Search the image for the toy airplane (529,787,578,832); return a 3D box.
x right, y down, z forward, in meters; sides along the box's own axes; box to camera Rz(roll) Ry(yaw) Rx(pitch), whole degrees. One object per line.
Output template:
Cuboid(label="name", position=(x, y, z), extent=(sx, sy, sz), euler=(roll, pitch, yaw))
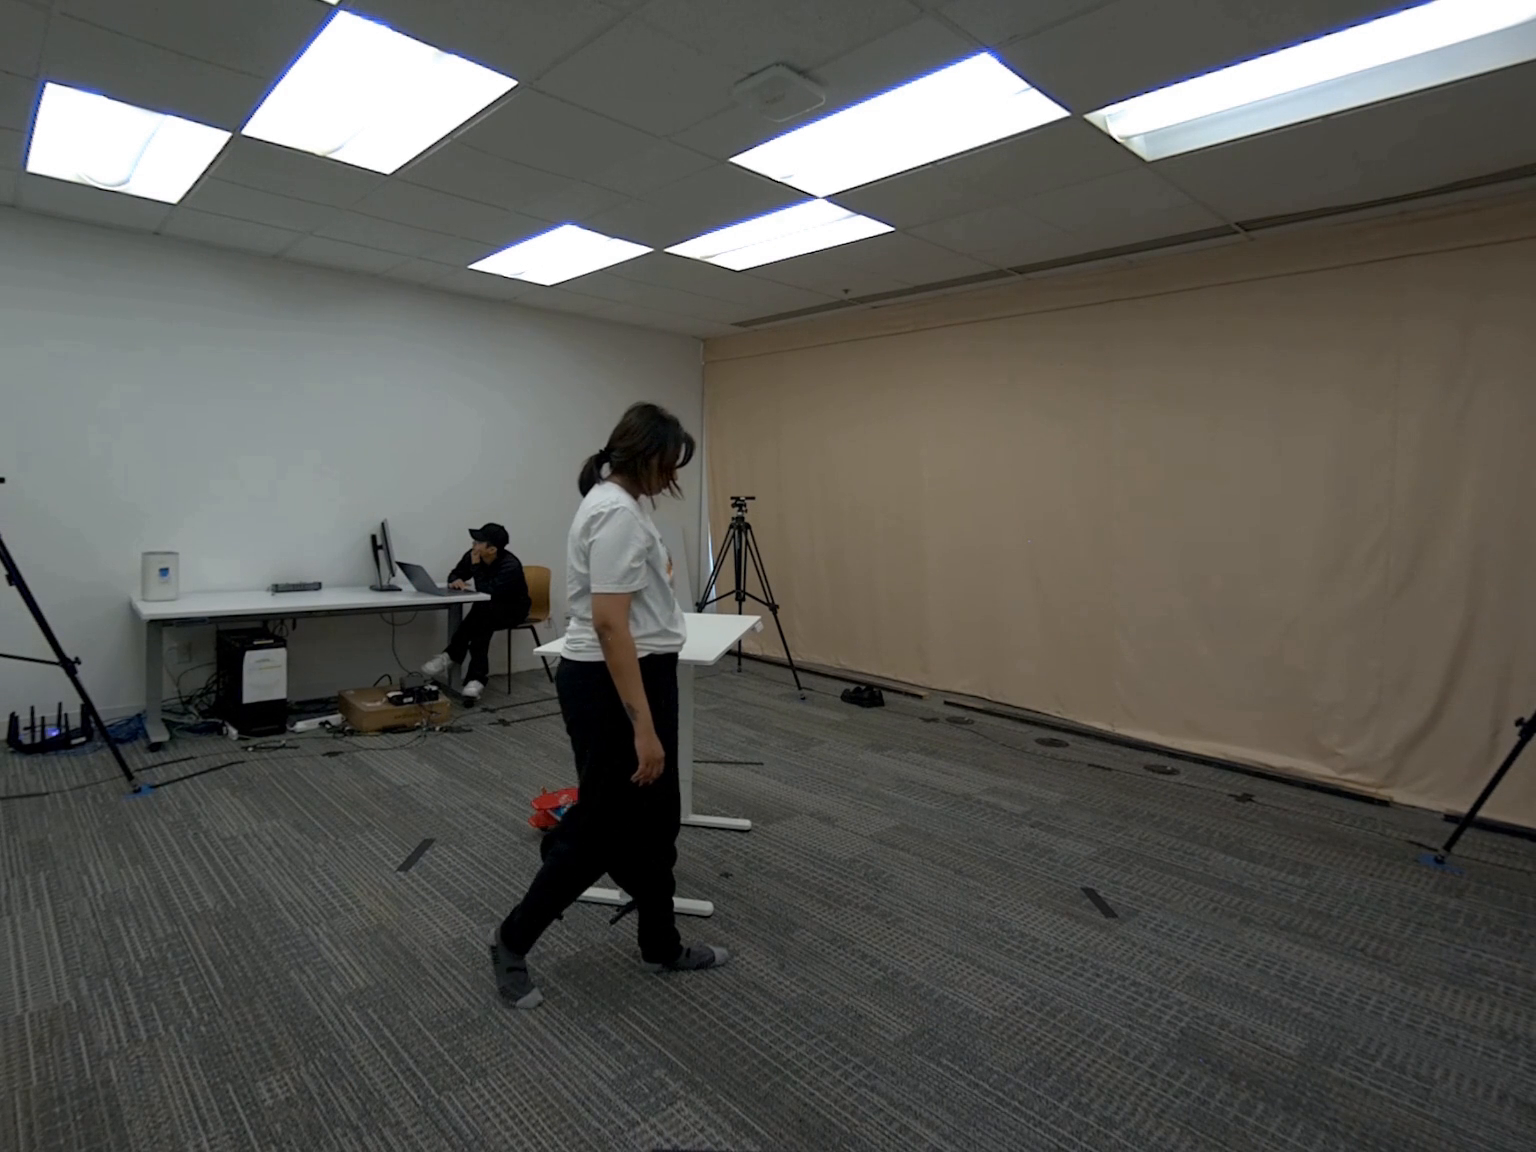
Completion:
Cuboid(label="toy airplane", position=(-0.843, 0.984, 3.470), extent=(0.262, 0.156, 0.248), euler=(1, 4, 15))
